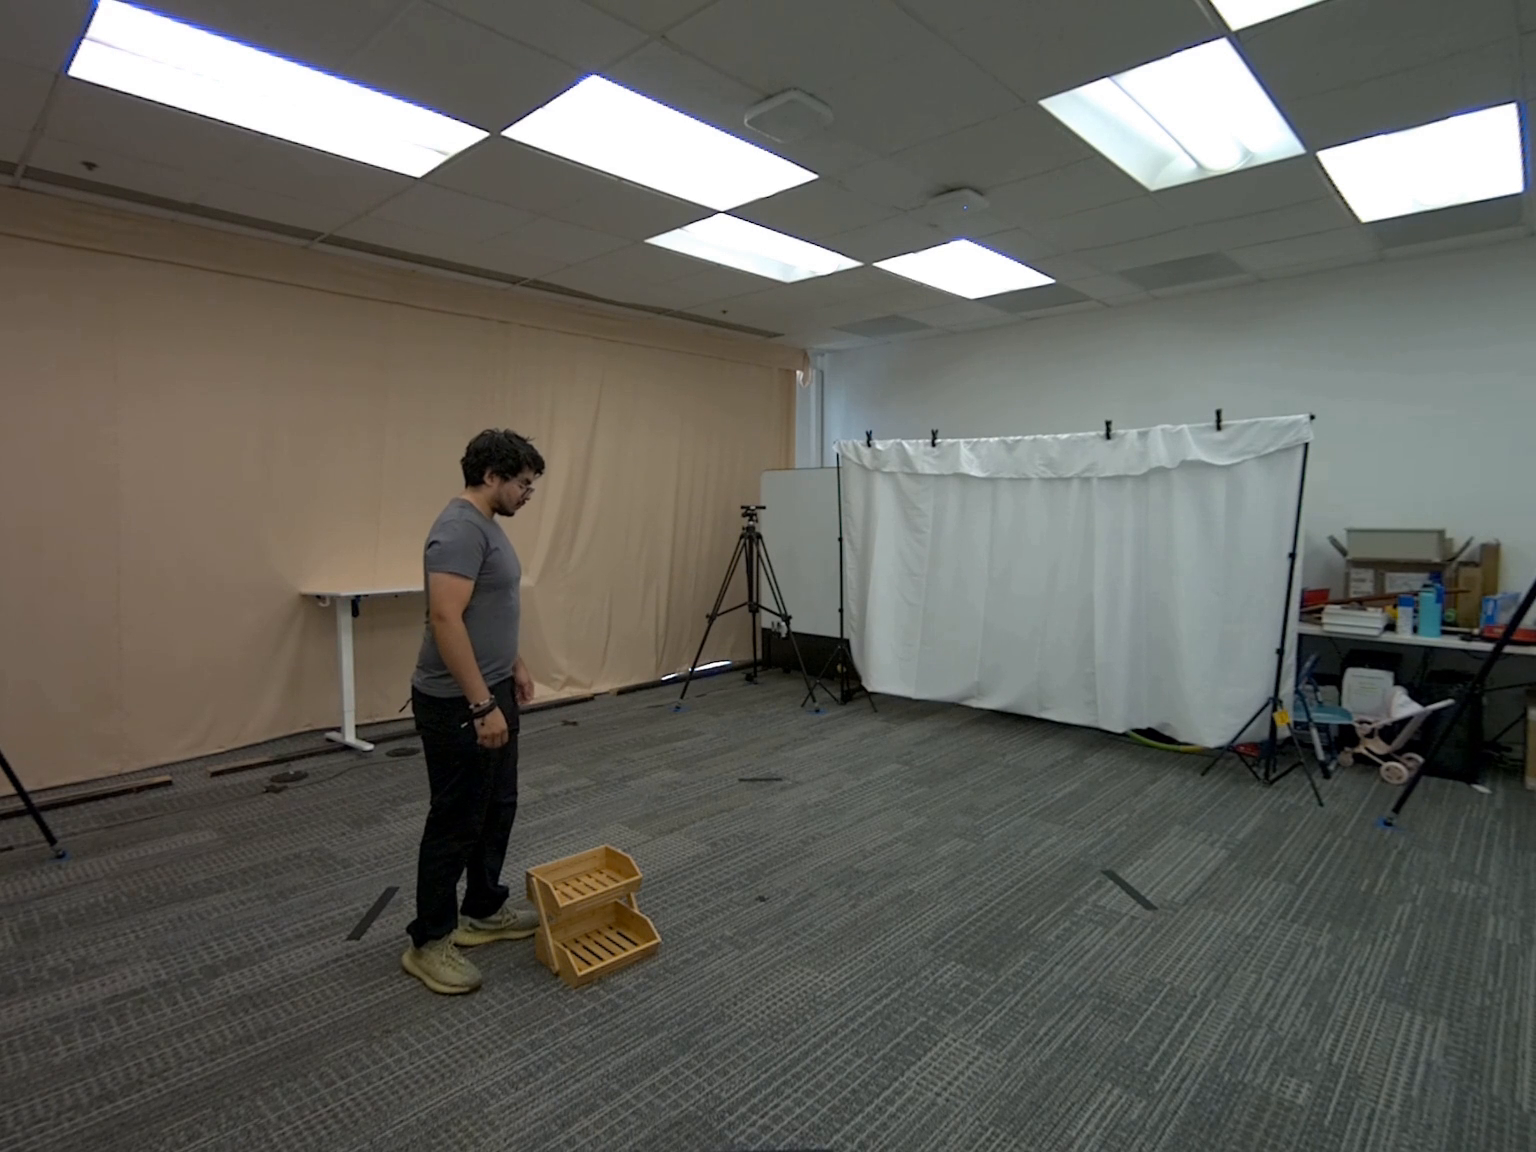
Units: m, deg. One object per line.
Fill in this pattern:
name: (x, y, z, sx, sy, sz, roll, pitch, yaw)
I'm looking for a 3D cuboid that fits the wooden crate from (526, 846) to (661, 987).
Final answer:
wooden crate: (-0.546, 1.046, 2.614, 0.314, 0.273, 0.312, -4, 5, -43)
